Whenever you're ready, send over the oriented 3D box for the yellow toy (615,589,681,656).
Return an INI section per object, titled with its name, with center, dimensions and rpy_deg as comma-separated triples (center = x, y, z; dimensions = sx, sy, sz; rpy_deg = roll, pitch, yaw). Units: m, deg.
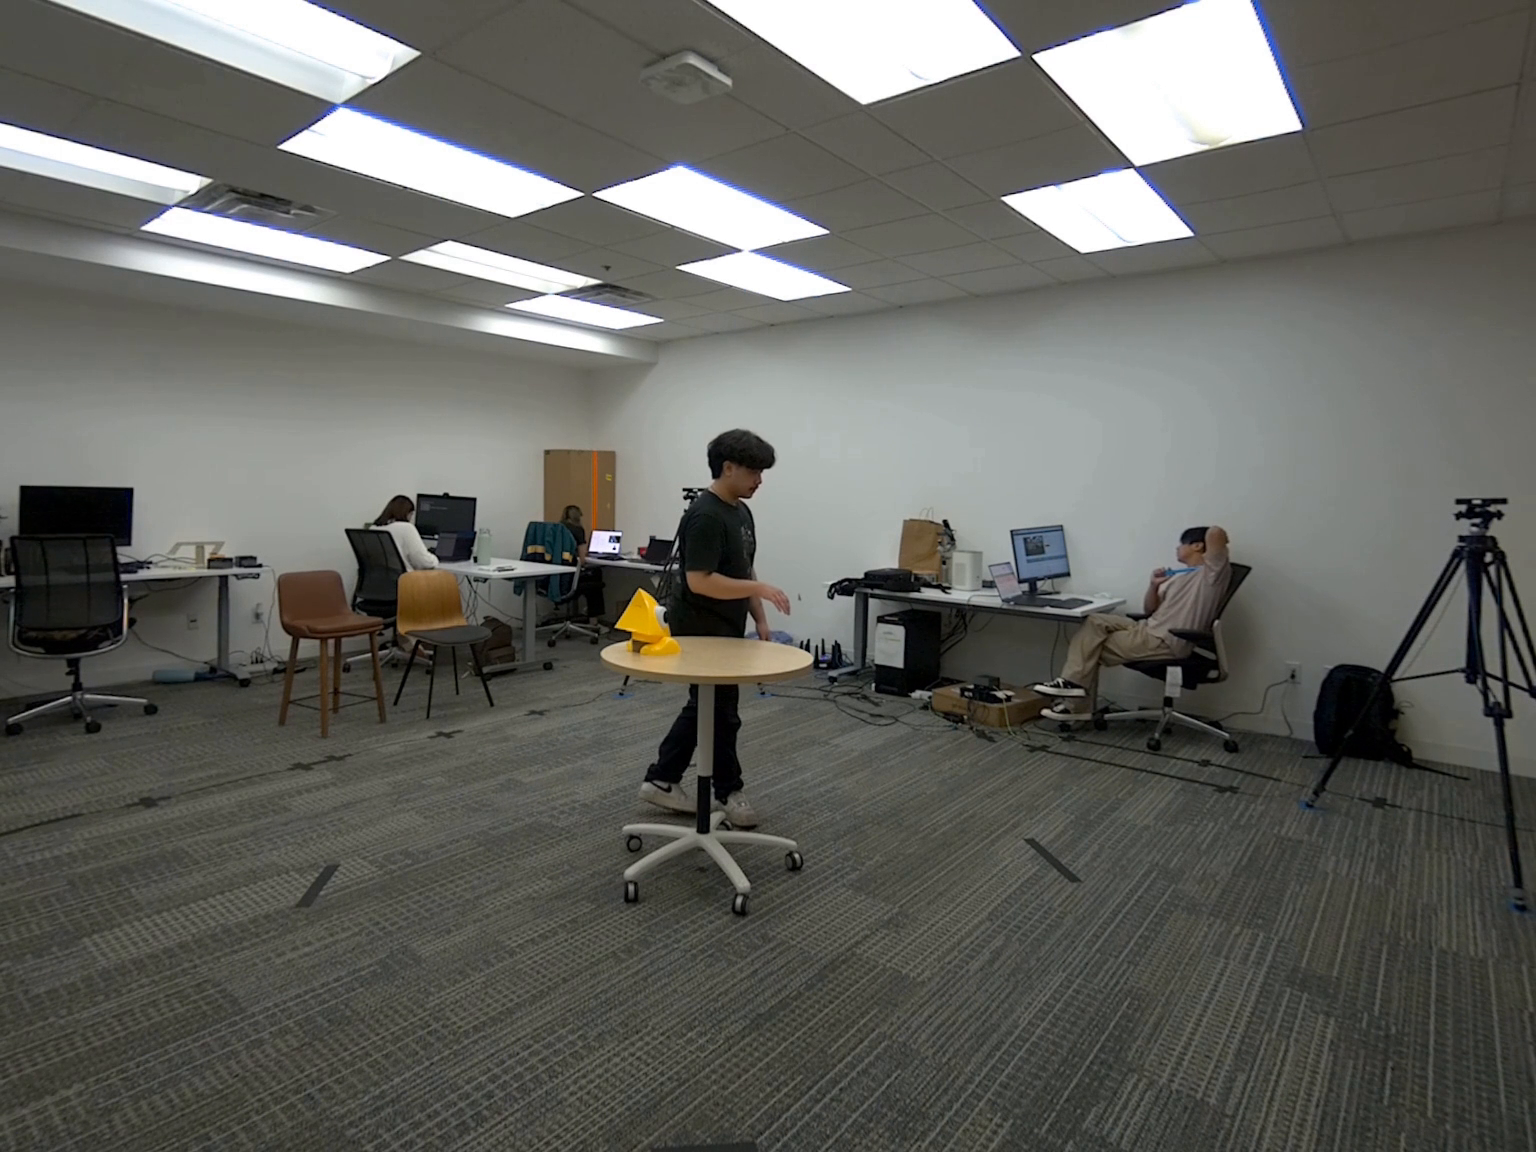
[yellow toy]
center = -0.440, 0.155, 3.109
dimensions = 0.187, 0.230, 0.212
rpy_deg = -1, 4, -42
